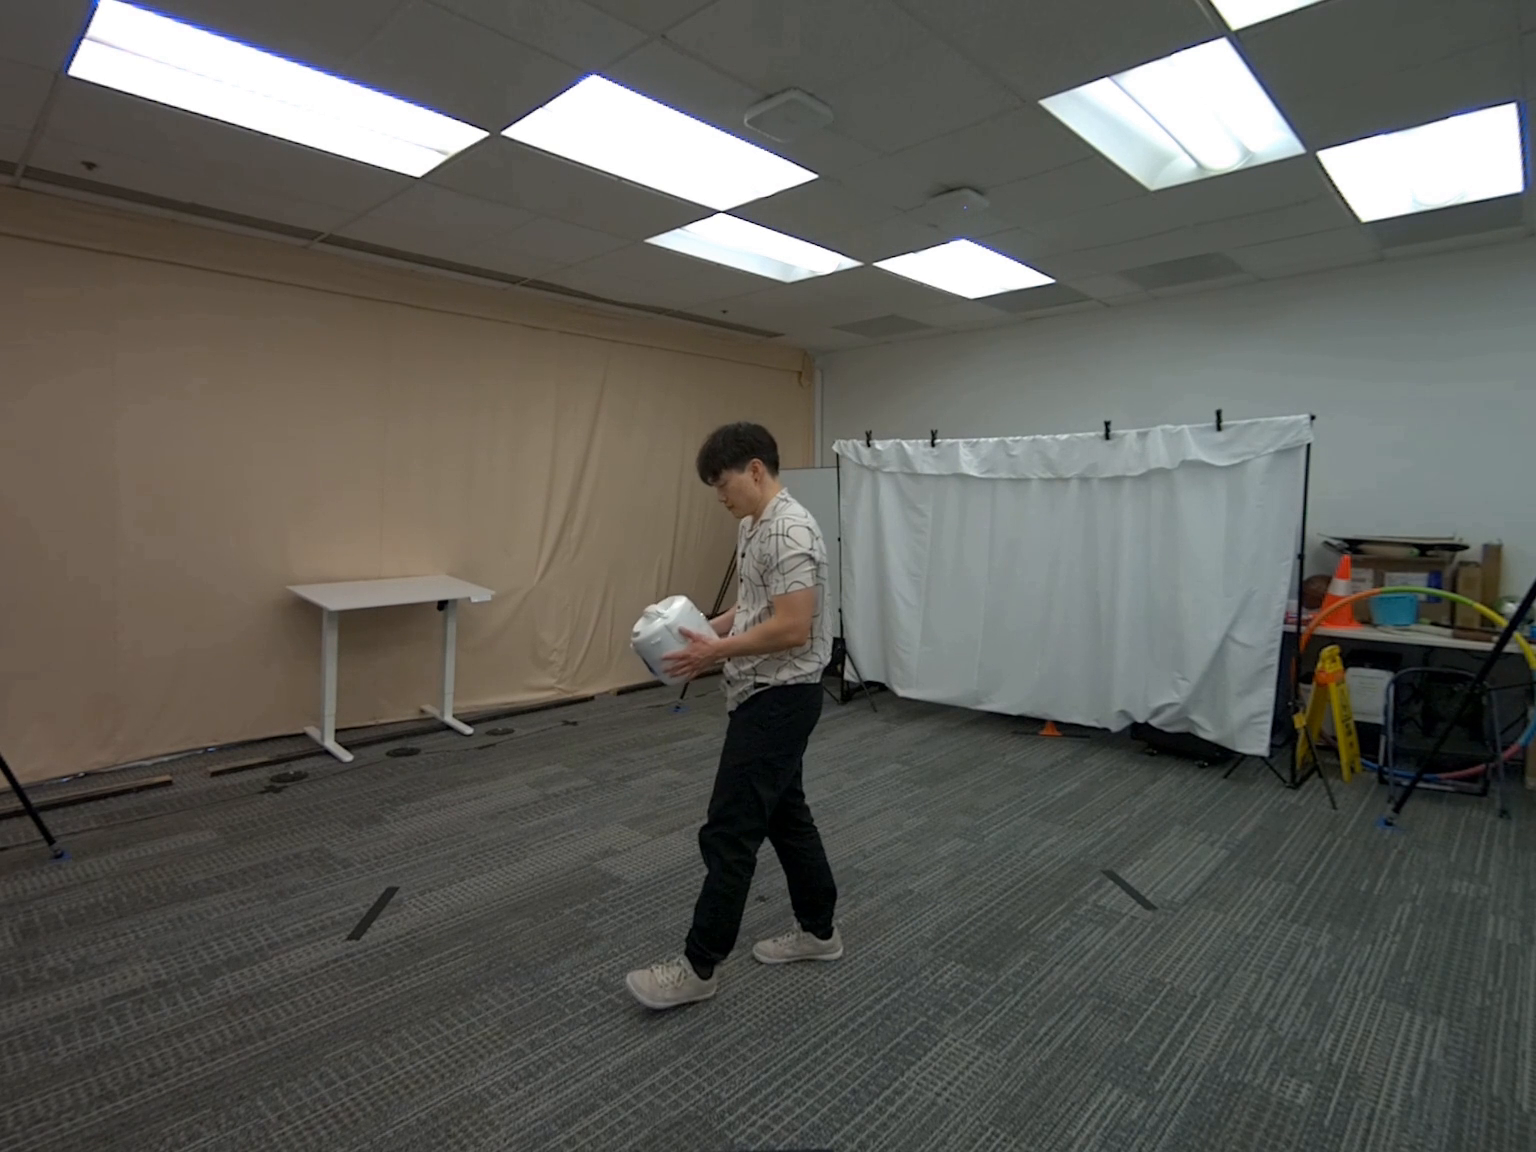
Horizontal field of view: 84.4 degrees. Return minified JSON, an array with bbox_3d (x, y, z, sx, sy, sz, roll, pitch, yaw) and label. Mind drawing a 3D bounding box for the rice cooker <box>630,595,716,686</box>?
[{"bbox_3d":[-0.280,0.180,2.493,0.216,0.229,0.226,-42,16,-20],"label":"rice cooker"}]
